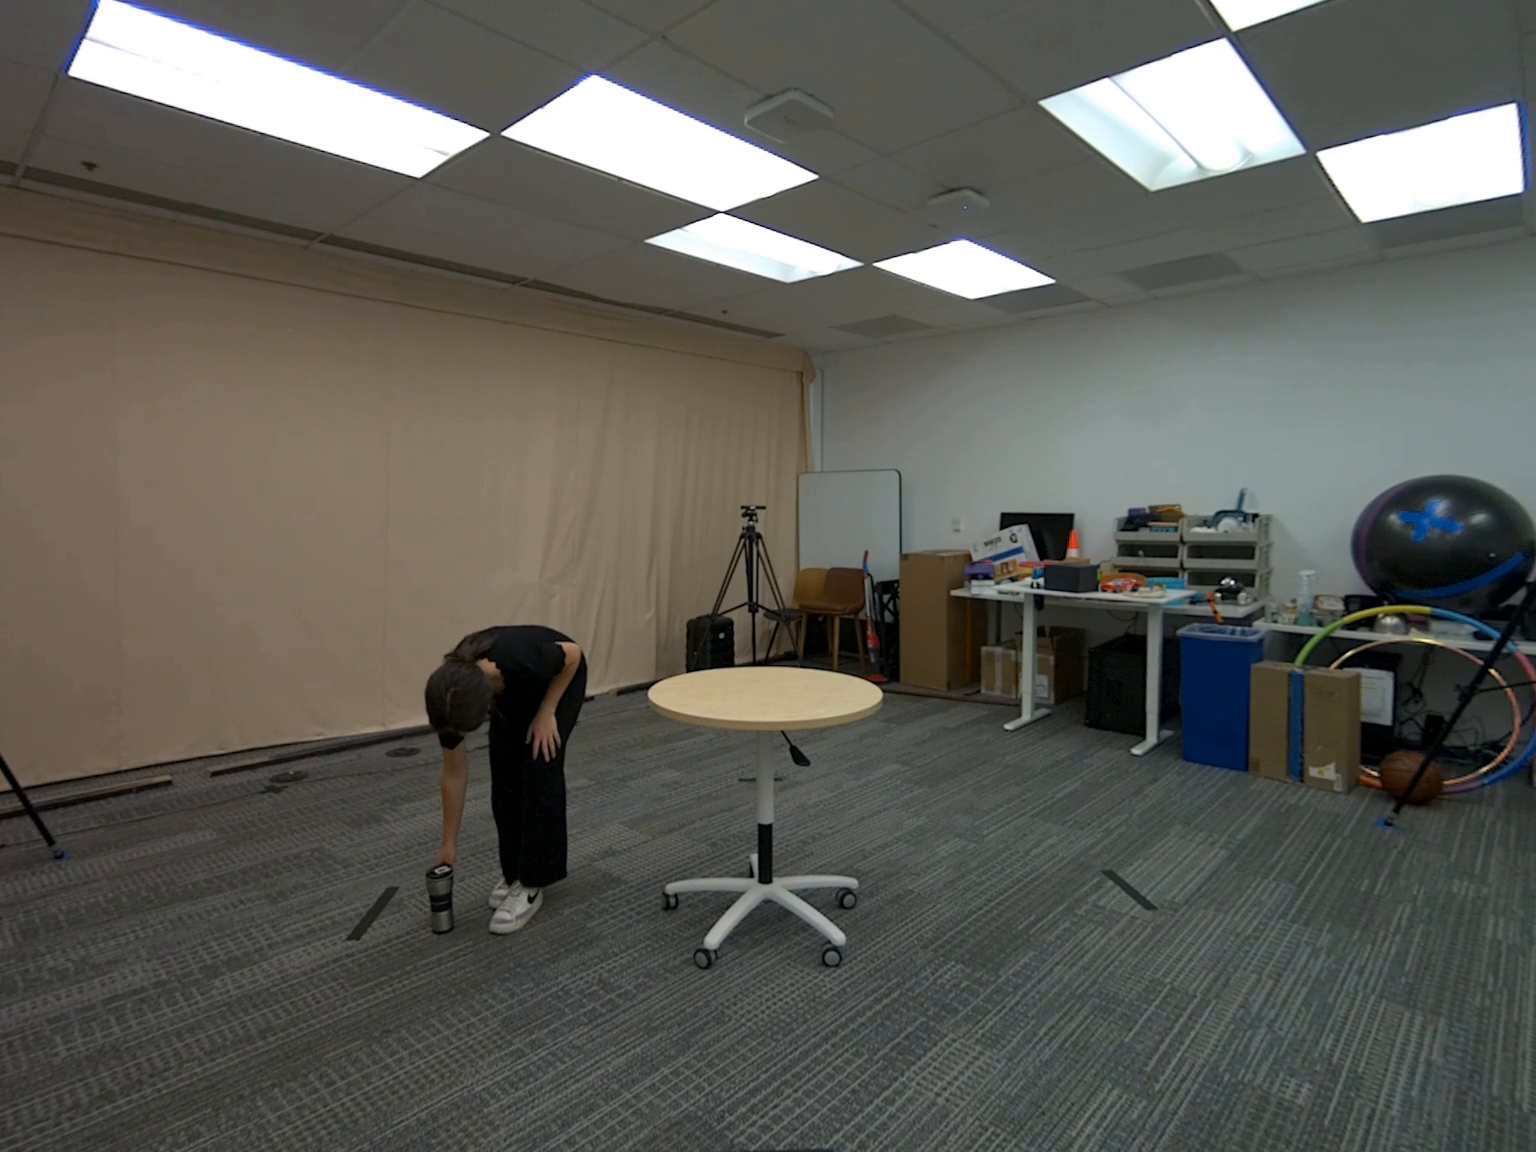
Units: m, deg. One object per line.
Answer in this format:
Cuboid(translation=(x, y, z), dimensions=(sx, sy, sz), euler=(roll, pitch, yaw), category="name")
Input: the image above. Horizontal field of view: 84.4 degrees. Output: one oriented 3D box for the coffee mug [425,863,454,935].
Cuboid(translation=(-1.067, 1.068, 2.792), dimensions=(0.091, 0.202, 0.118), euler=(1, 9, 45), category="coffee mug")
